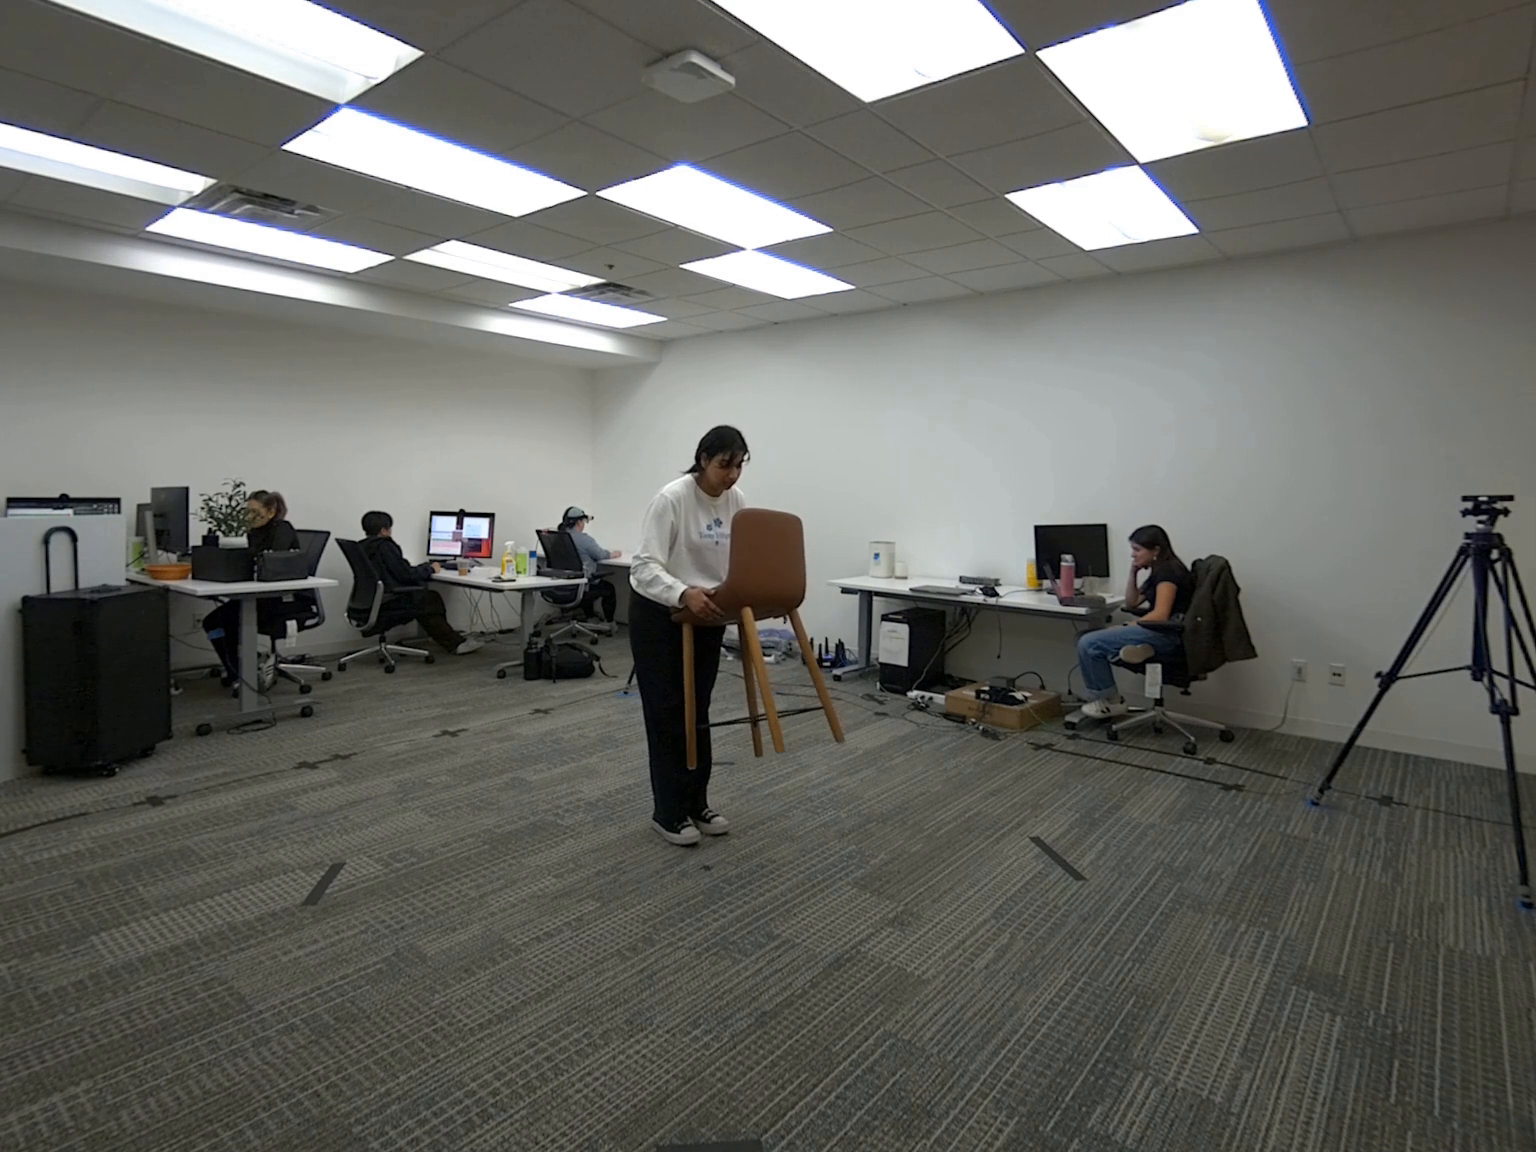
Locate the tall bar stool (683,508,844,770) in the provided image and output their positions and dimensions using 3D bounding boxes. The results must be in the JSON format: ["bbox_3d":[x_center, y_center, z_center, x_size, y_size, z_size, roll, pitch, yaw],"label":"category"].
[{"bbox_3d":[-0.074,0.245,3.248,0.477,0.903,0.441,-19,-16,39],"label":"tall bar stool"}]
